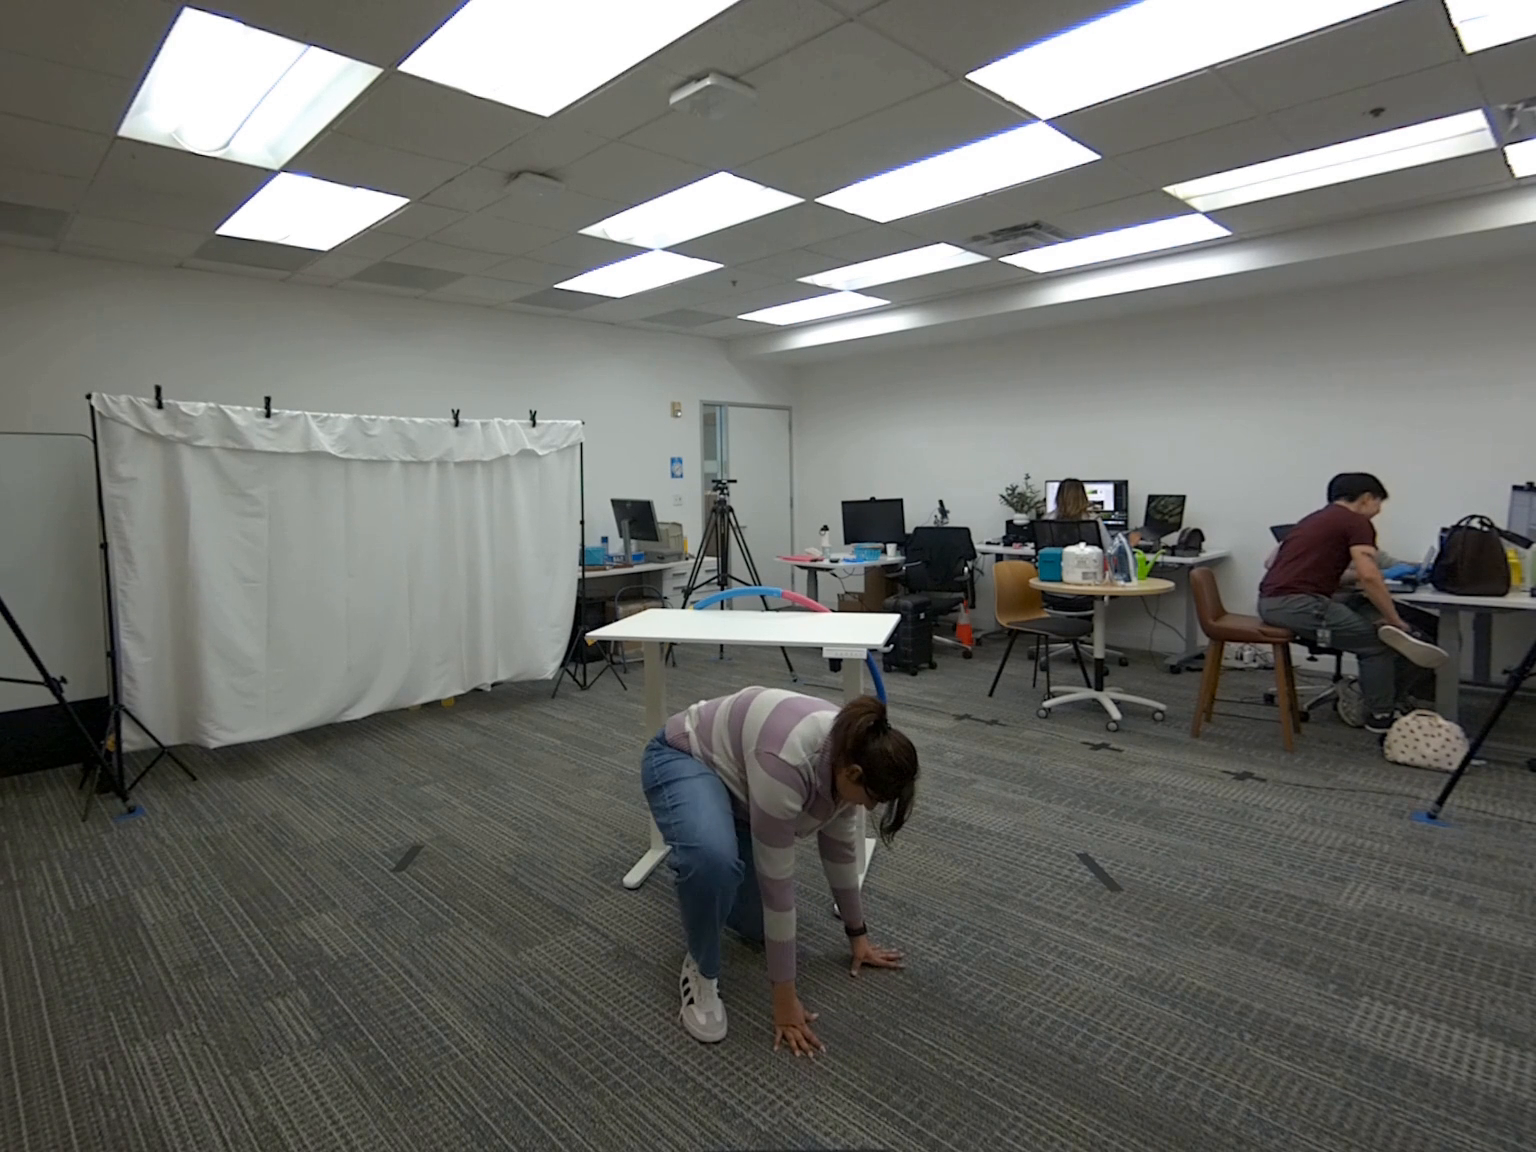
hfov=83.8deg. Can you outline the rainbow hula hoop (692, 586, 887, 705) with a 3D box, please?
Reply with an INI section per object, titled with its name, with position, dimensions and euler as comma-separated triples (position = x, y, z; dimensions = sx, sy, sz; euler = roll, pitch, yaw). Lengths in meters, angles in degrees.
[rainbow hula hoop]
position = -0.011, 0.528, 3.434
dimensions = 0.995, 0.969, 0.035
euler = 1, 11, 17
